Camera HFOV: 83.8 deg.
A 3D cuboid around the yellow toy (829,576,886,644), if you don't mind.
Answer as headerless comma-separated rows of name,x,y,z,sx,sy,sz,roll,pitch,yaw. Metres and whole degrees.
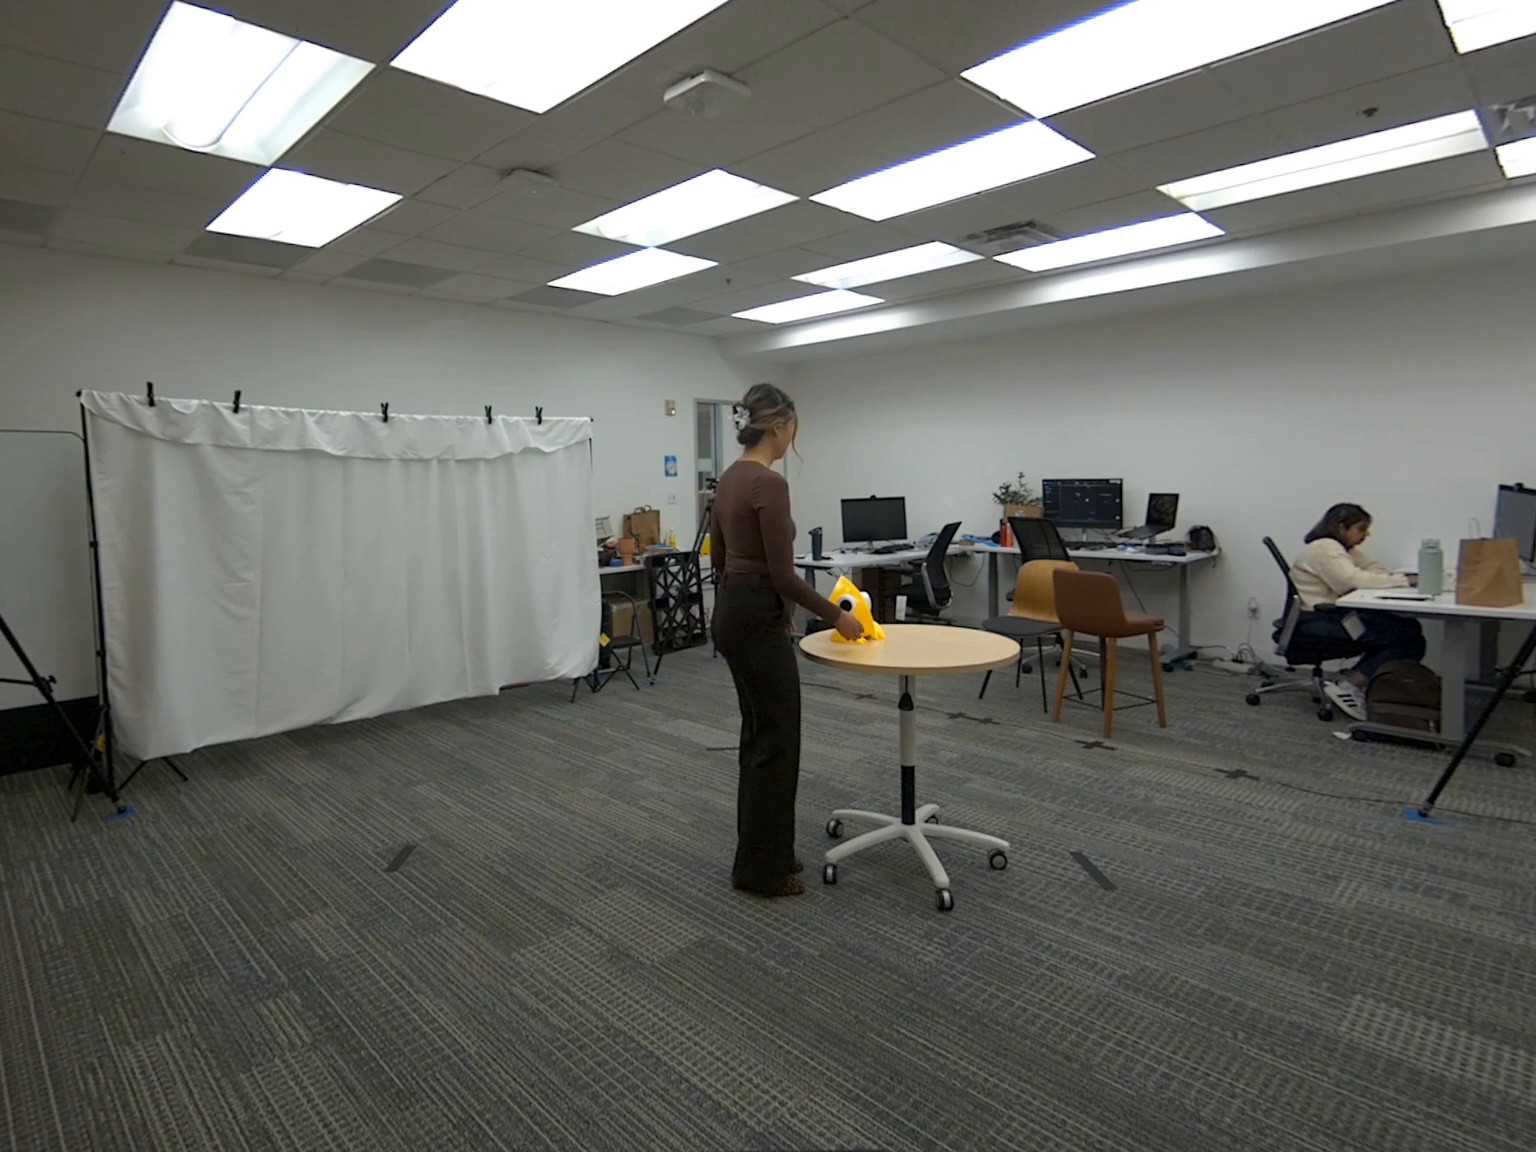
yellow toy,0.324,0.118,3.162,0.199,0.230,0.199,-5,6,-43
